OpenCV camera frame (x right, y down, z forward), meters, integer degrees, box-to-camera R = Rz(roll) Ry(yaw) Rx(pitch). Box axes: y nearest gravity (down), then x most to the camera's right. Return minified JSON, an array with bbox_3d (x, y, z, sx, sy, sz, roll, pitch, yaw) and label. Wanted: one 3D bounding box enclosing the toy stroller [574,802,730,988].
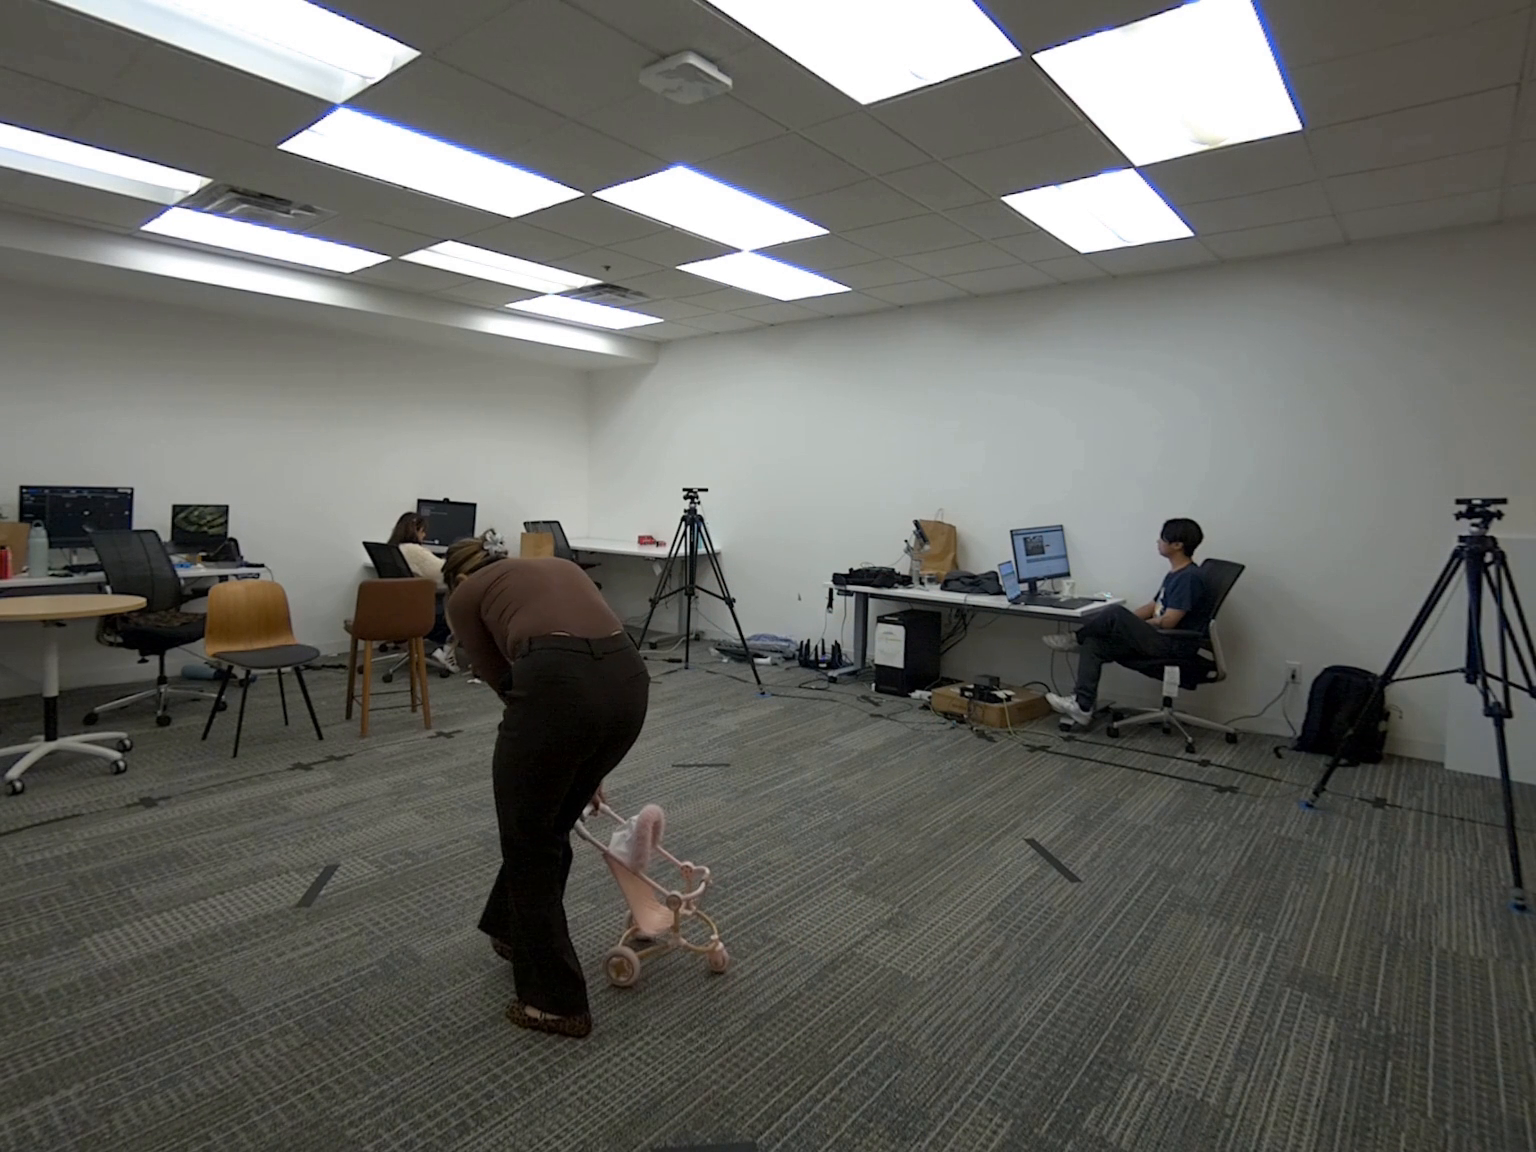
[{"bbox_3d":[-0.337,0.905,2.467,0.345,0.535,0.278,-15,0,13],"label":"toy stroller"}]
